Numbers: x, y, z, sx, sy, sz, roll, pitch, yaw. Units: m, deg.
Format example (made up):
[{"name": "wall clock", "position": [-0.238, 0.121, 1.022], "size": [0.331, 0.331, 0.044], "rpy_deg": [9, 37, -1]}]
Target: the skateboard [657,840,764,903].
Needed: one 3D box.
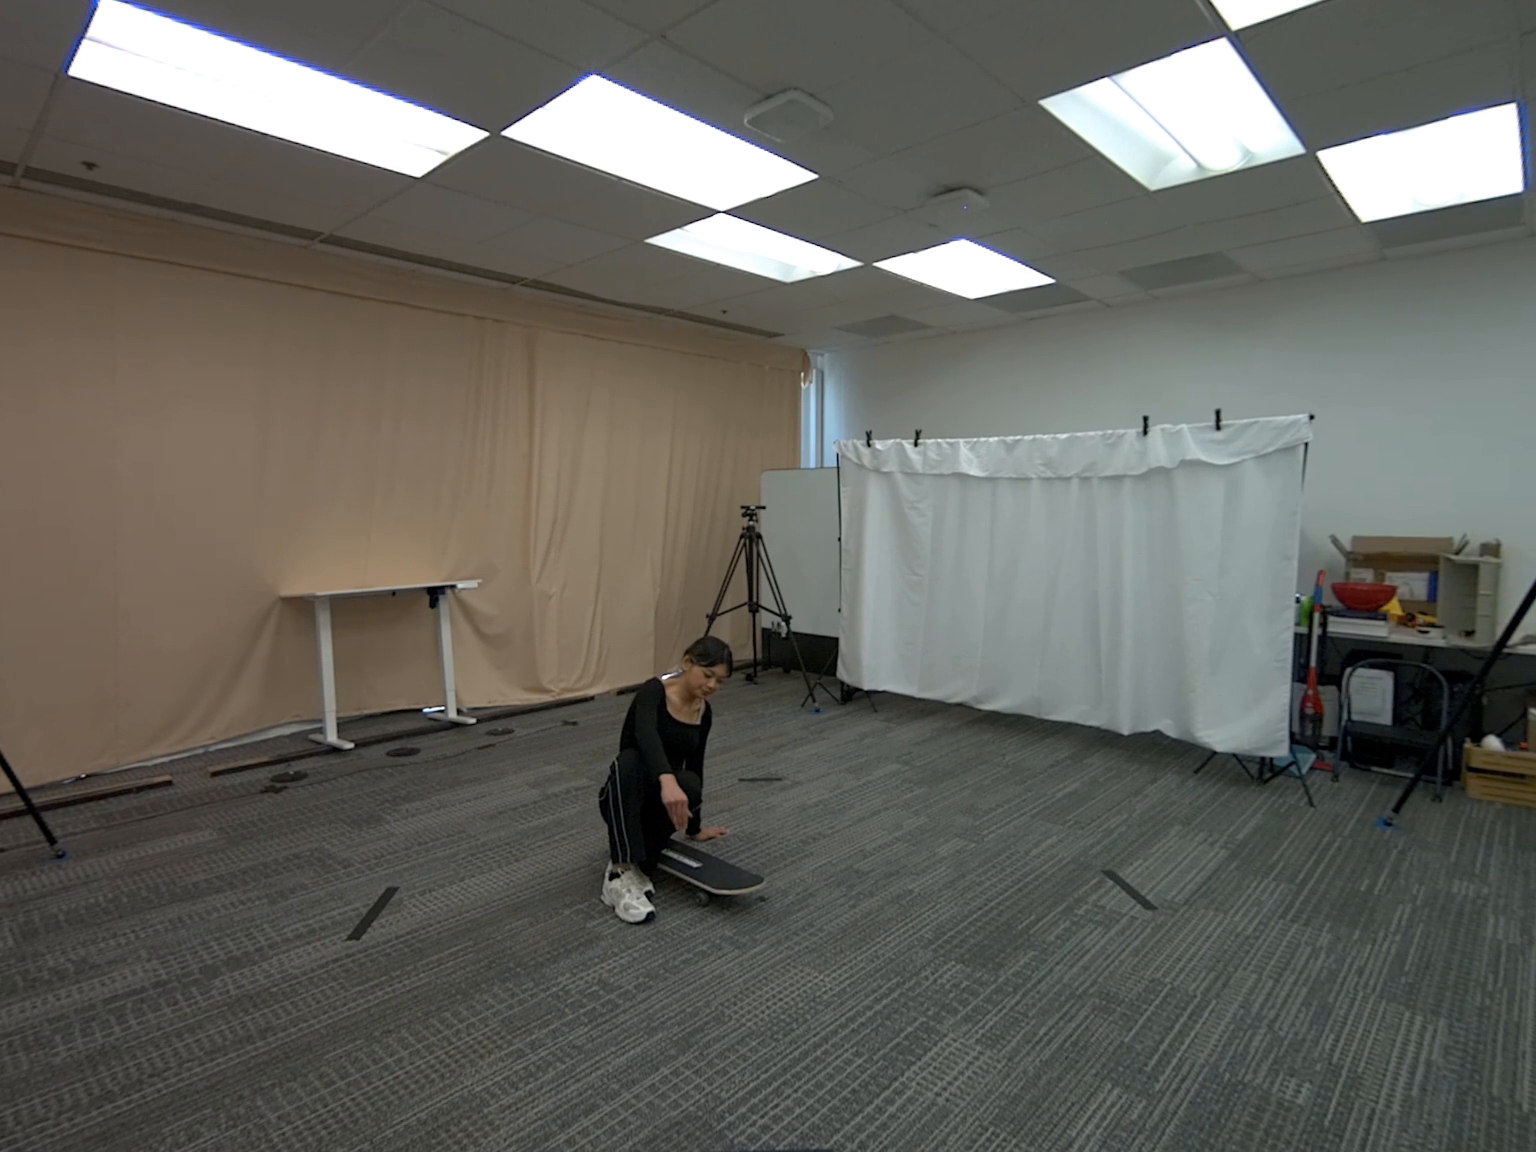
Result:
[{"name": "skateboard", "position": [-0.322, 1.080, 3.127], "size": [0.812, 0.110, 0.187], "rpy_deg": [4, 4, 44]}]
